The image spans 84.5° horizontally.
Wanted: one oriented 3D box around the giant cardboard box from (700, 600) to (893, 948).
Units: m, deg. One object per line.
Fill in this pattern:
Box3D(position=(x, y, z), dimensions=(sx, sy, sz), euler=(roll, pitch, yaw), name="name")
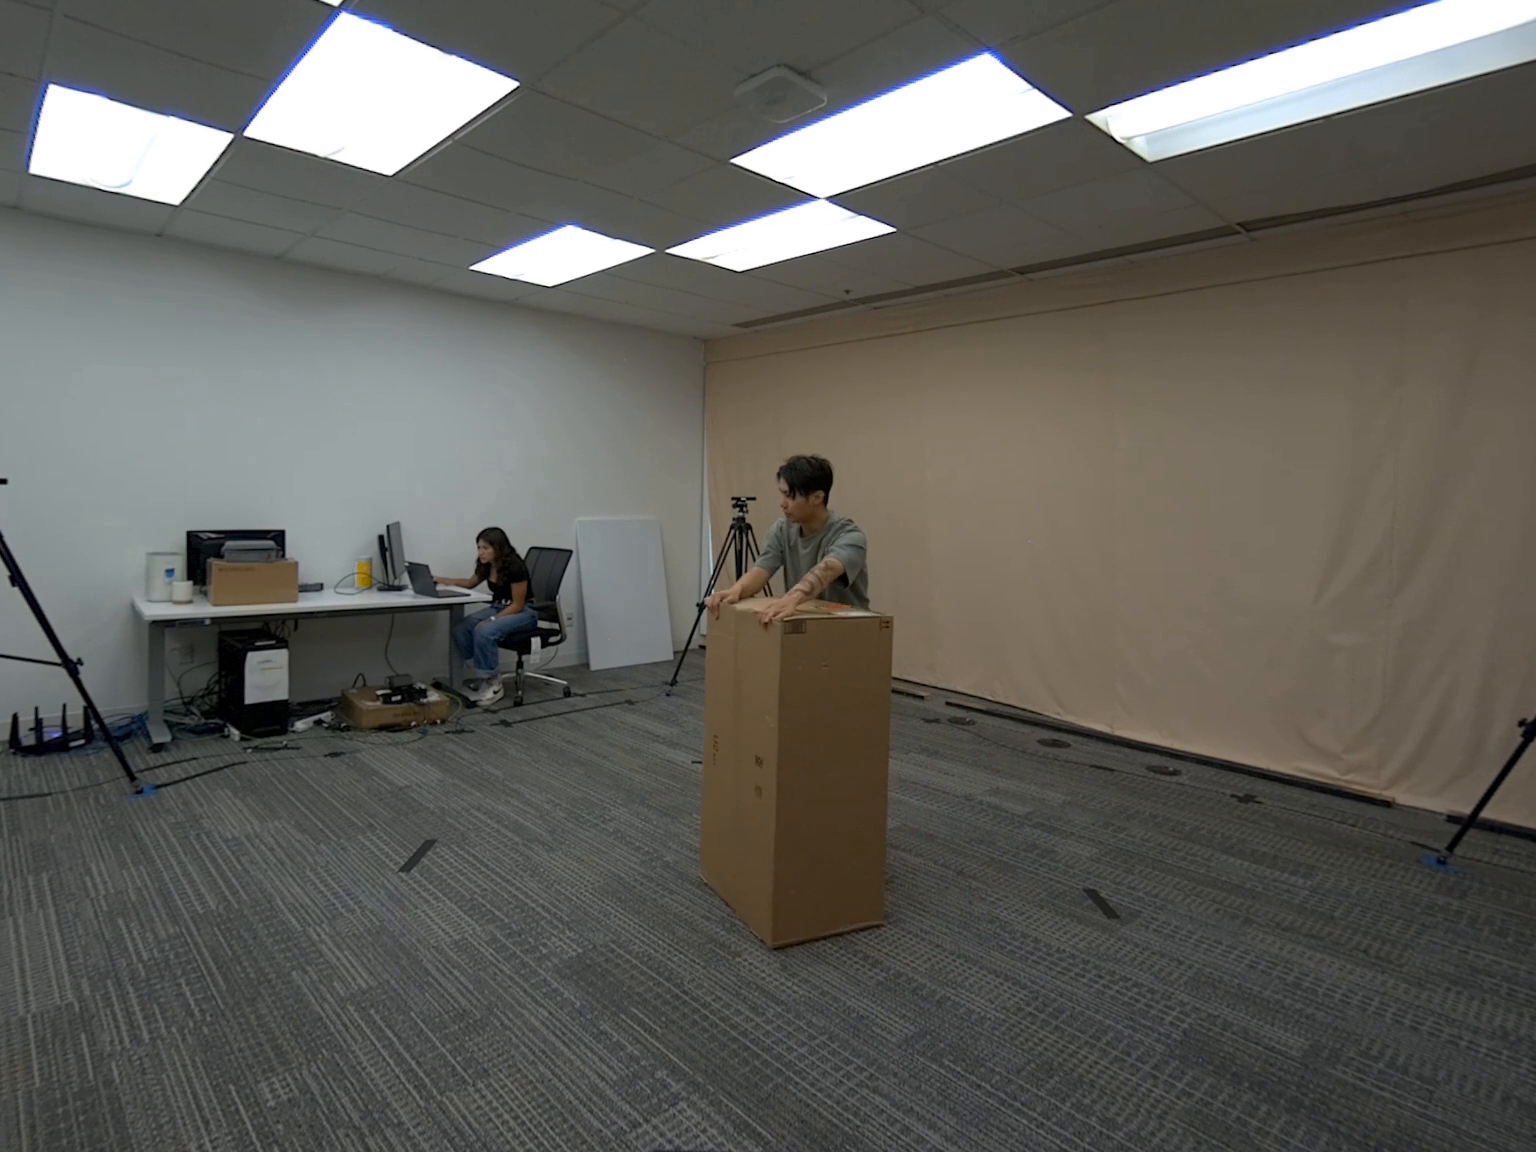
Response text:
Box3D(position=(0.073, 0.615, 2.917), dimensions=(0.418, 1.025, 0.589), euler=(1, 2, -27), name="giant cardboard box")
